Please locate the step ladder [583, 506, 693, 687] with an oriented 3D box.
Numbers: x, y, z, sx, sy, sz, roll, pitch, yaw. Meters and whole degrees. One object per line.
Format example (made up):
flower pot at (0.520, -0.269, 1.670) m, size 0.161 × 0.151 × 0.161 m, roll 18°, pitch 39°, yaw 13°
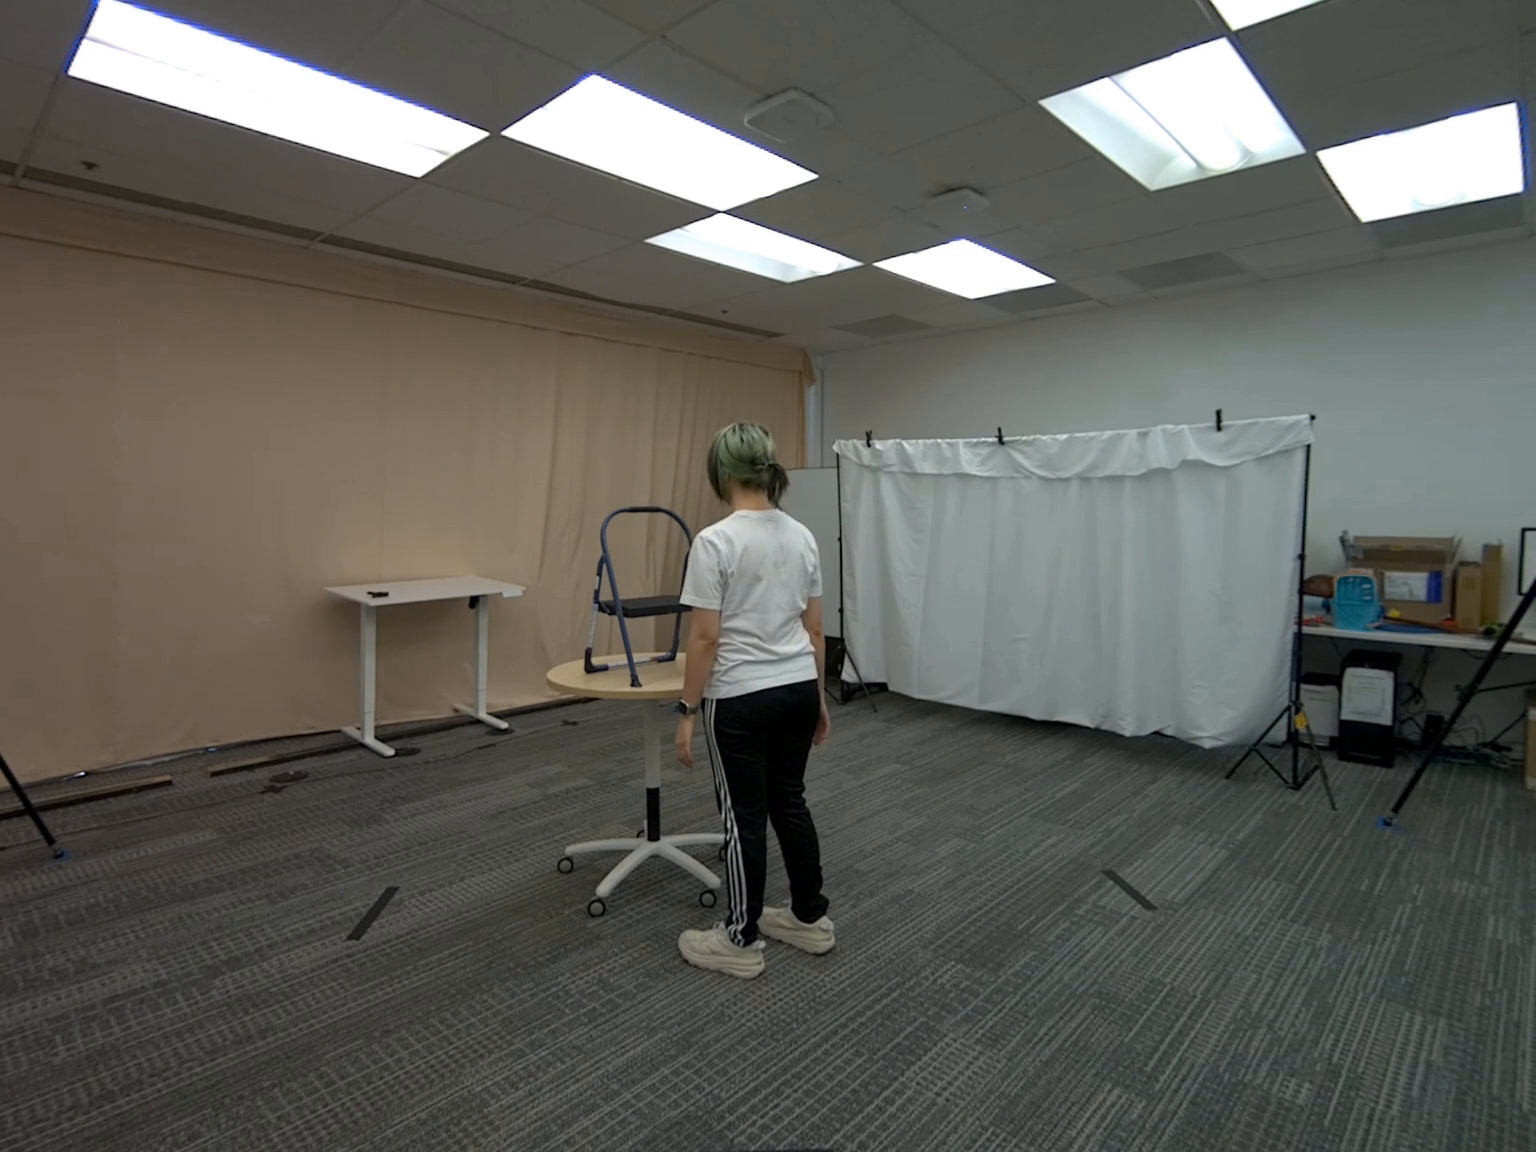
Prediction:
step ladder at (-0.415, 0.052, 3.075) m, size 0.417 × 0.605 × 0.361 m, roll -2°, pitch 3°, yaw -42°
